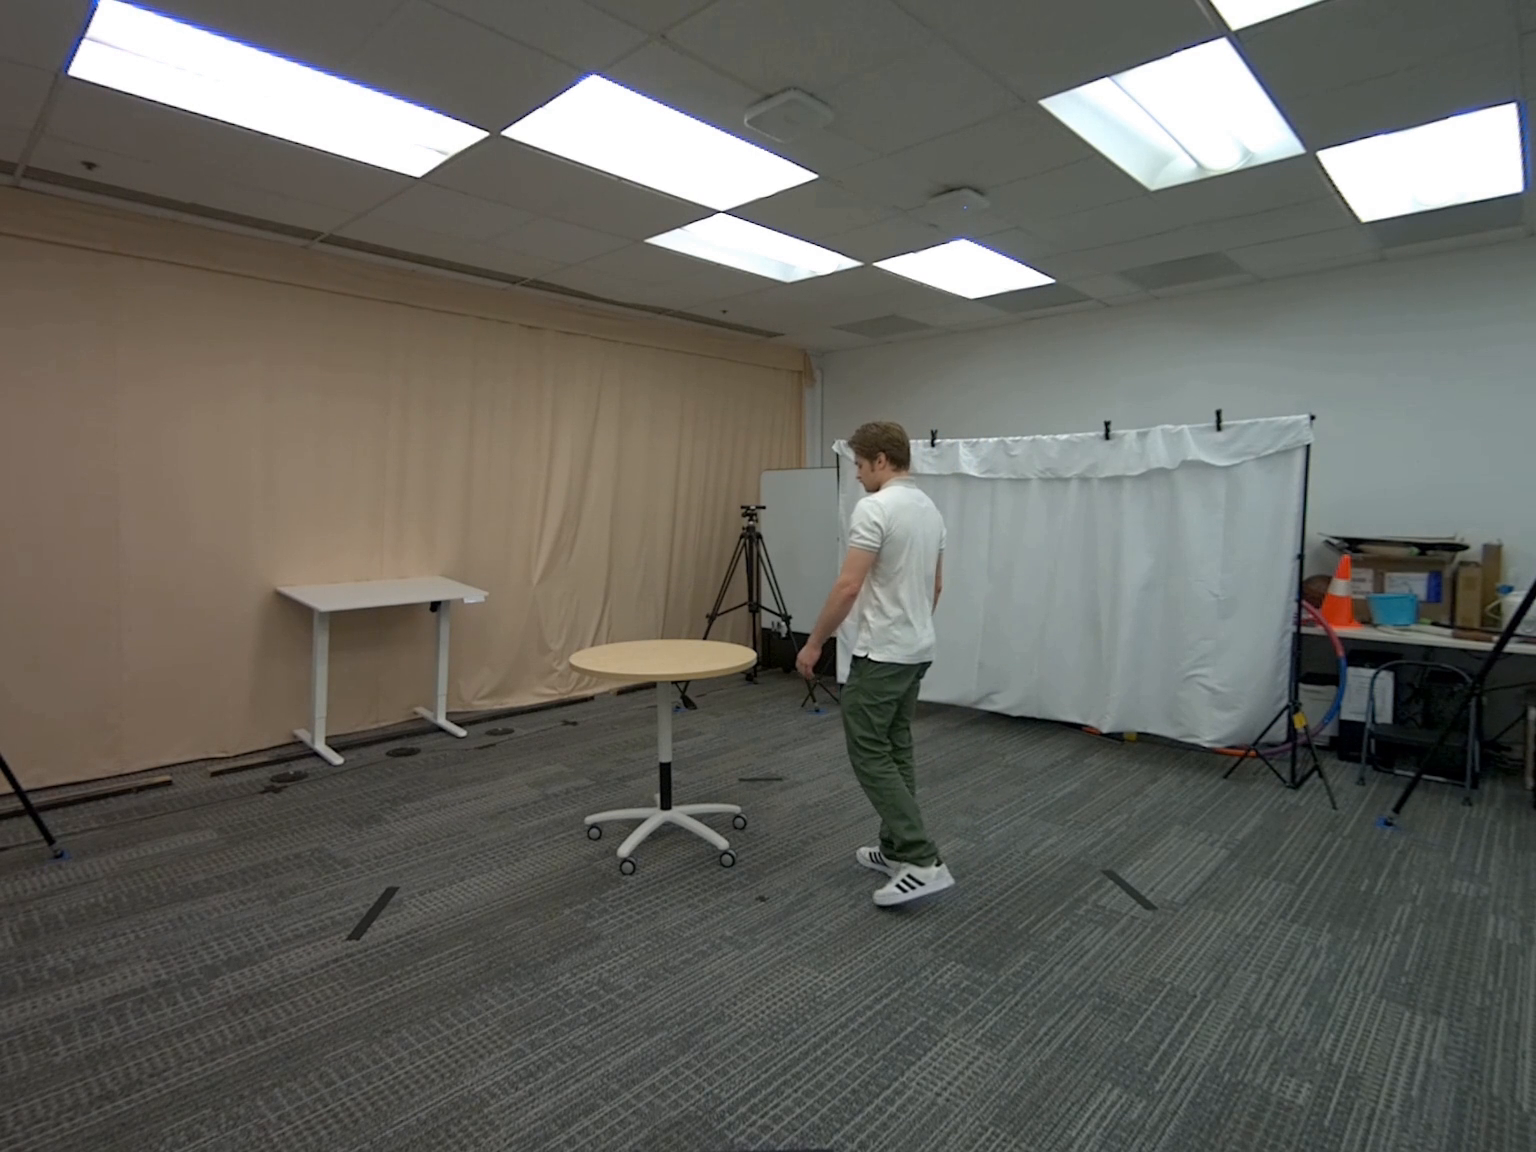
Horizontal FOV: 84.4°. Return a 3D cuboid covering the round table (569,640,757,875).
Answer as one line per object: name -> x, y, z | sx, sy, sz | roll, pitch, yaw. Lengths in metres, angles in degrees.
round table -> -0.405, 0.712, 3.479 | 0.784, 0.784, 0.788 | -1, 4, -2
